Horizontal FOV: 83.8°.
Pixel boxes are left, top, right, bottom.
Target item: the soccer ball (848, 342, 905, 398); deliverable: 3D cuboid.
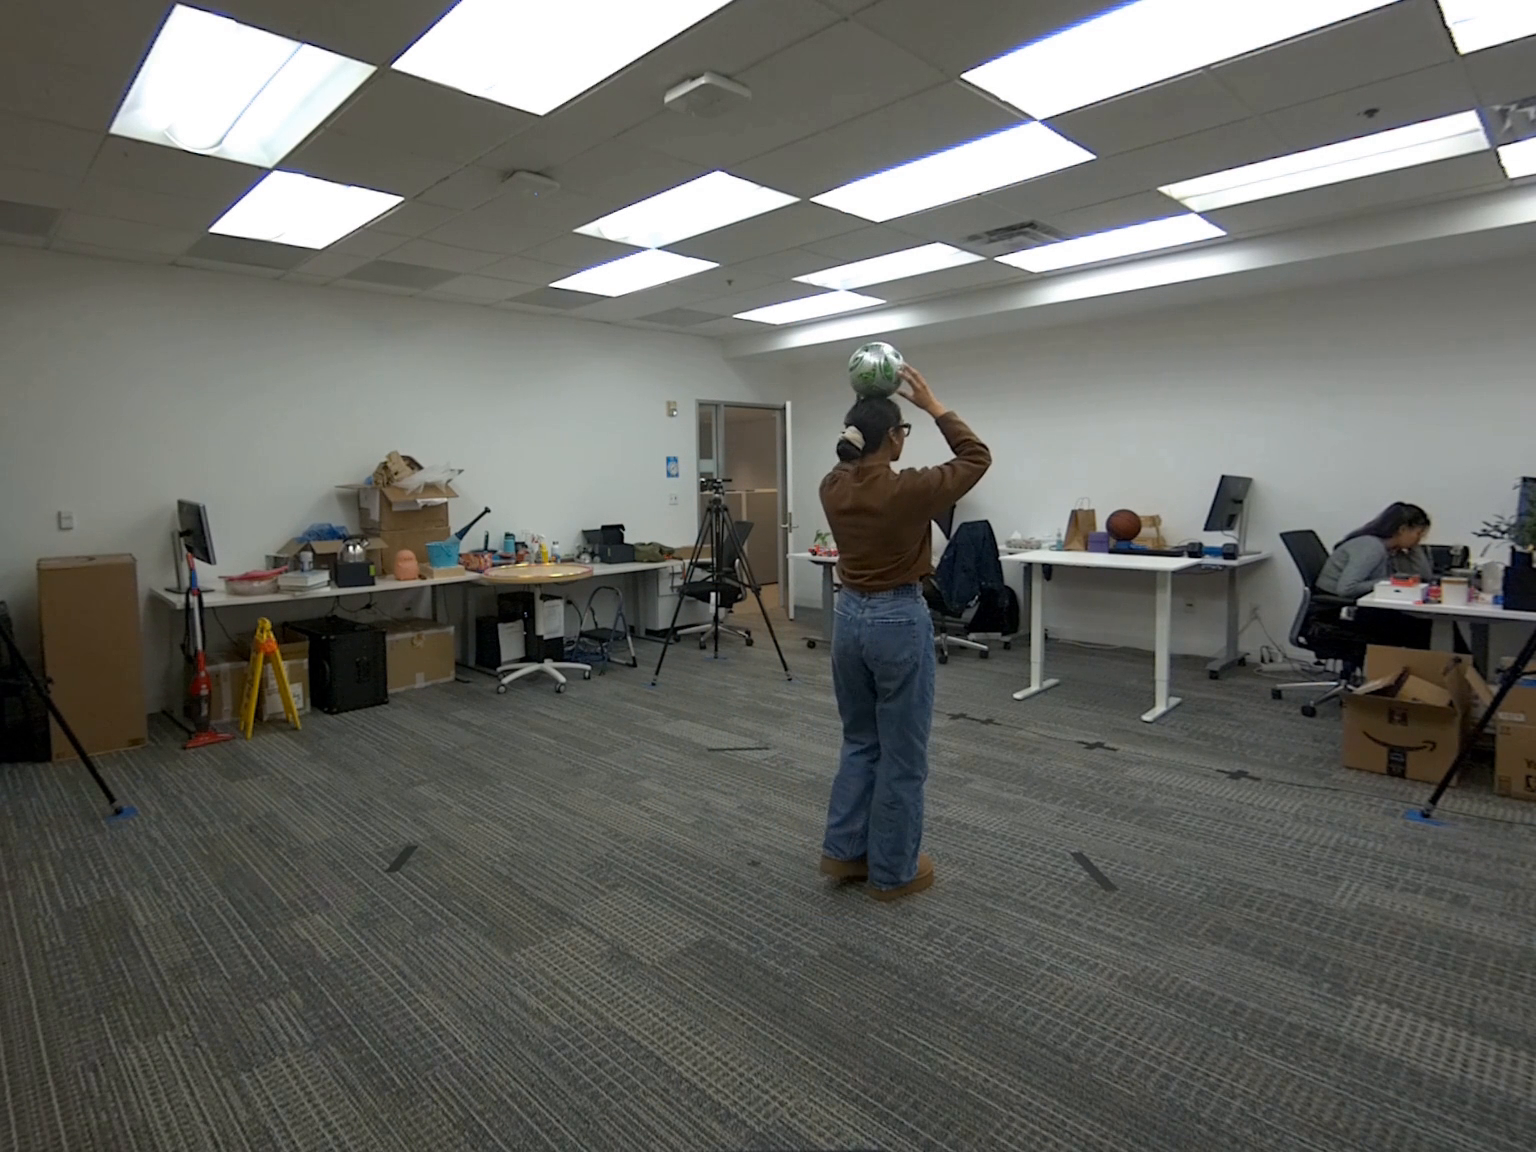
[{"bbox_3d":[0.358,-0.677,2.828,0.187,0.187,0.188,-1,5,-2],"label":"soccer ball"}]
